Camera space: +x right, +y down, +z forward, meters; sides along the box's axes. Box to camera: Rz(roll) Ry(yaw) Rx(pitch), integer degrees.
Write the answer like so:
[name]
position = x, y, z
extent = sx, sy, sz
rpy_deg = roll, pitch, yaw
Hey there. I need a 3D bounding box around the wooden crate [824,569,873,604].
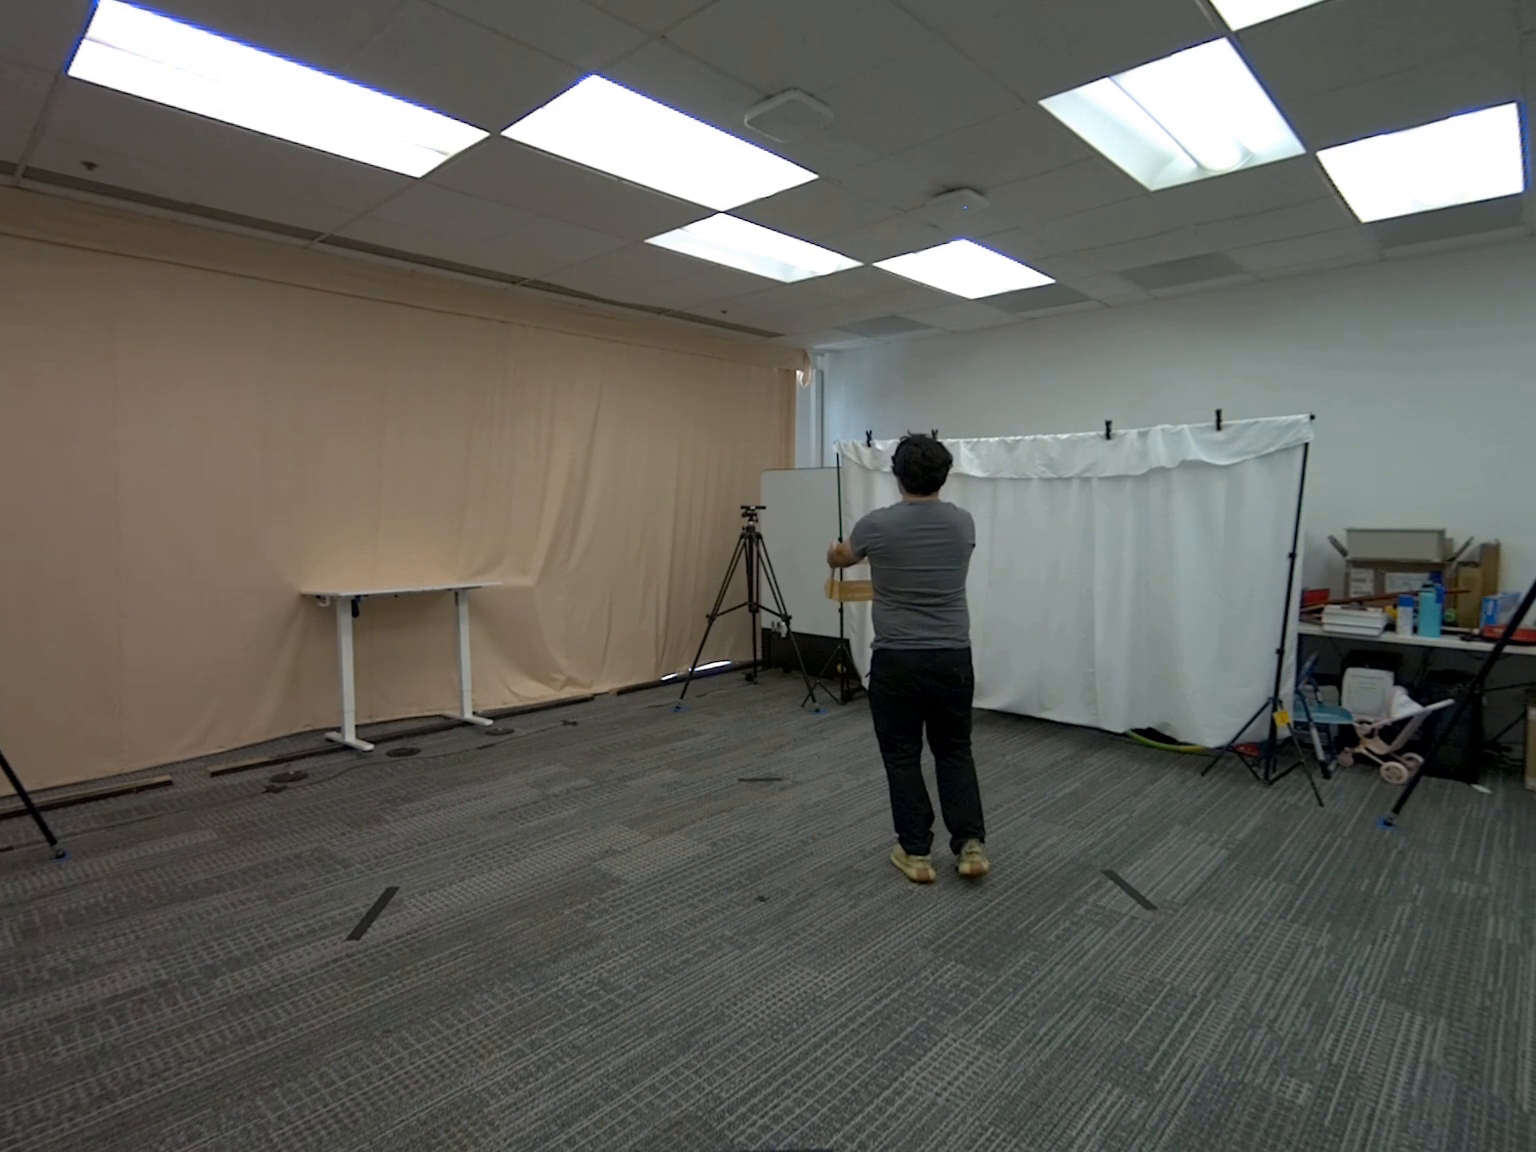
[wooden crate]
position = 0.441, -0.032, 3.798
extent = 0.322, 0.272, 0.305
rpy_deg = -3, 5, -8
